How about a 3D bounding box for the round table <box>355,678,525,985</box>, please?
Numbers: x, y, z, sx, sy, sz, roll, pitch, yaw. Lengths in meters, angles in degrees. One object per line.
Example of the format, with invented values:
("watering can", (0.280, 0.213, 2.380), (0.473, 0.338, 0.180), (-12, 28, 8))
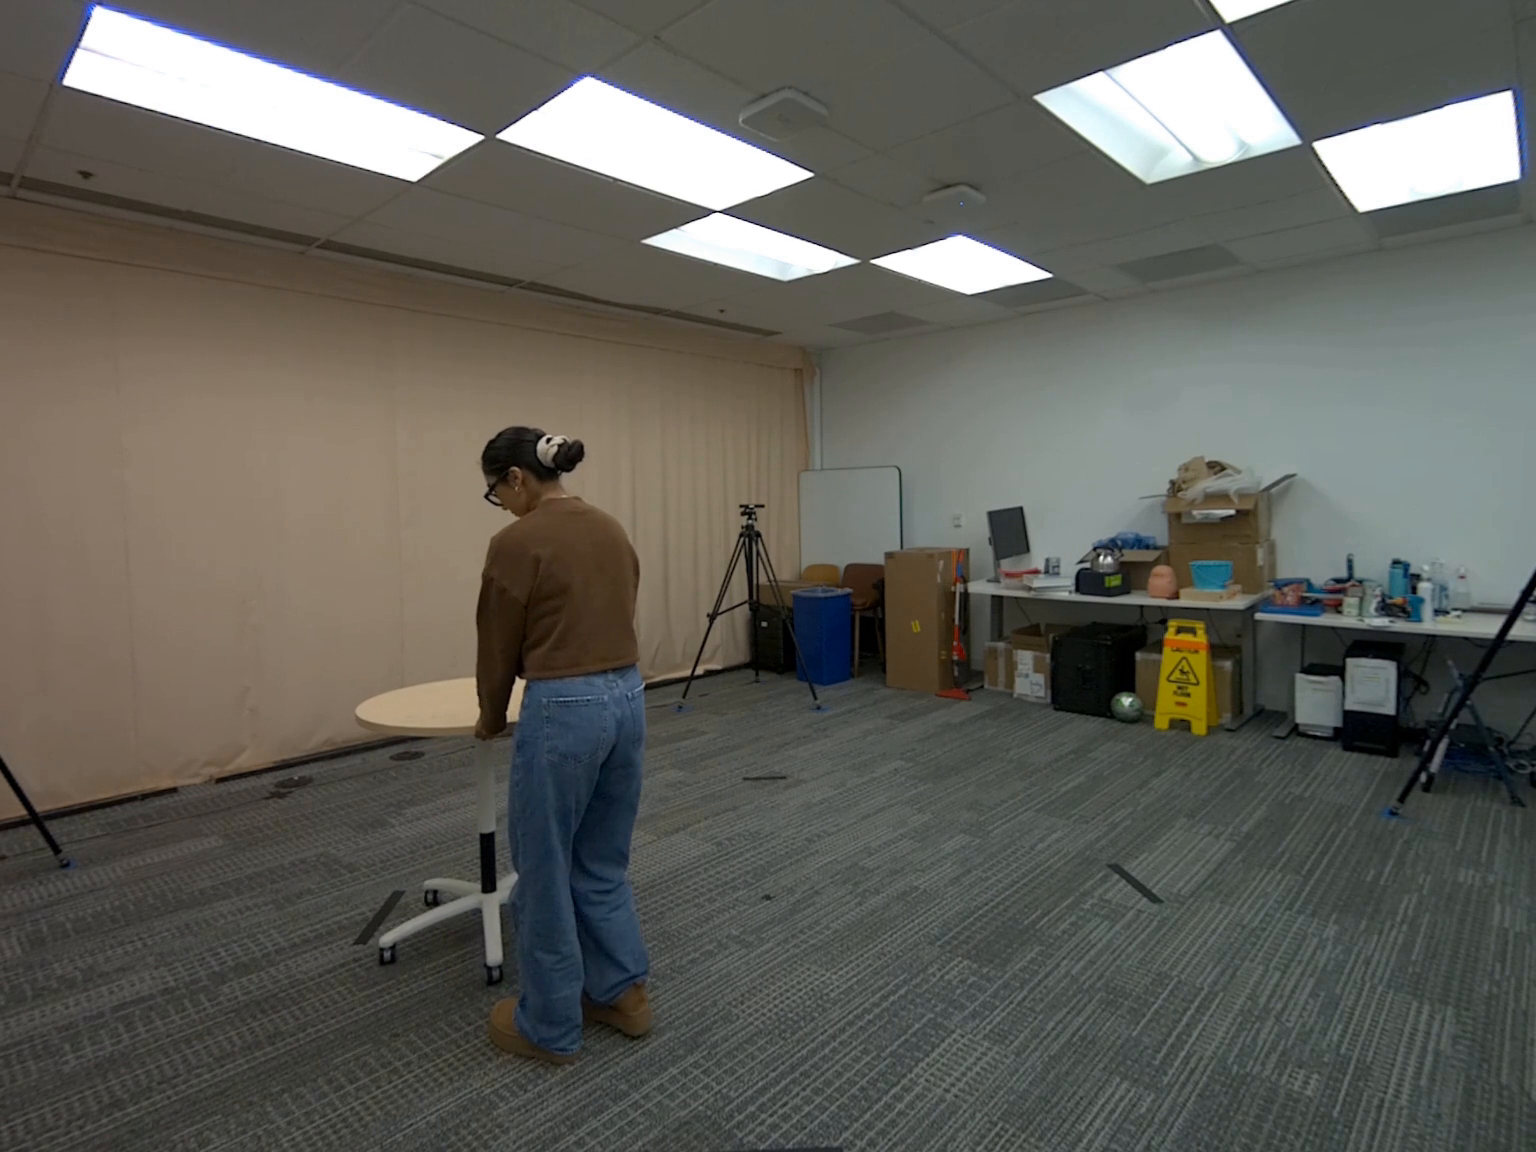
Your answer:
("round table", (-0.924, 0.793, 2.765), (0.763, 0.792, 0.766), (-2, 3, -2))
